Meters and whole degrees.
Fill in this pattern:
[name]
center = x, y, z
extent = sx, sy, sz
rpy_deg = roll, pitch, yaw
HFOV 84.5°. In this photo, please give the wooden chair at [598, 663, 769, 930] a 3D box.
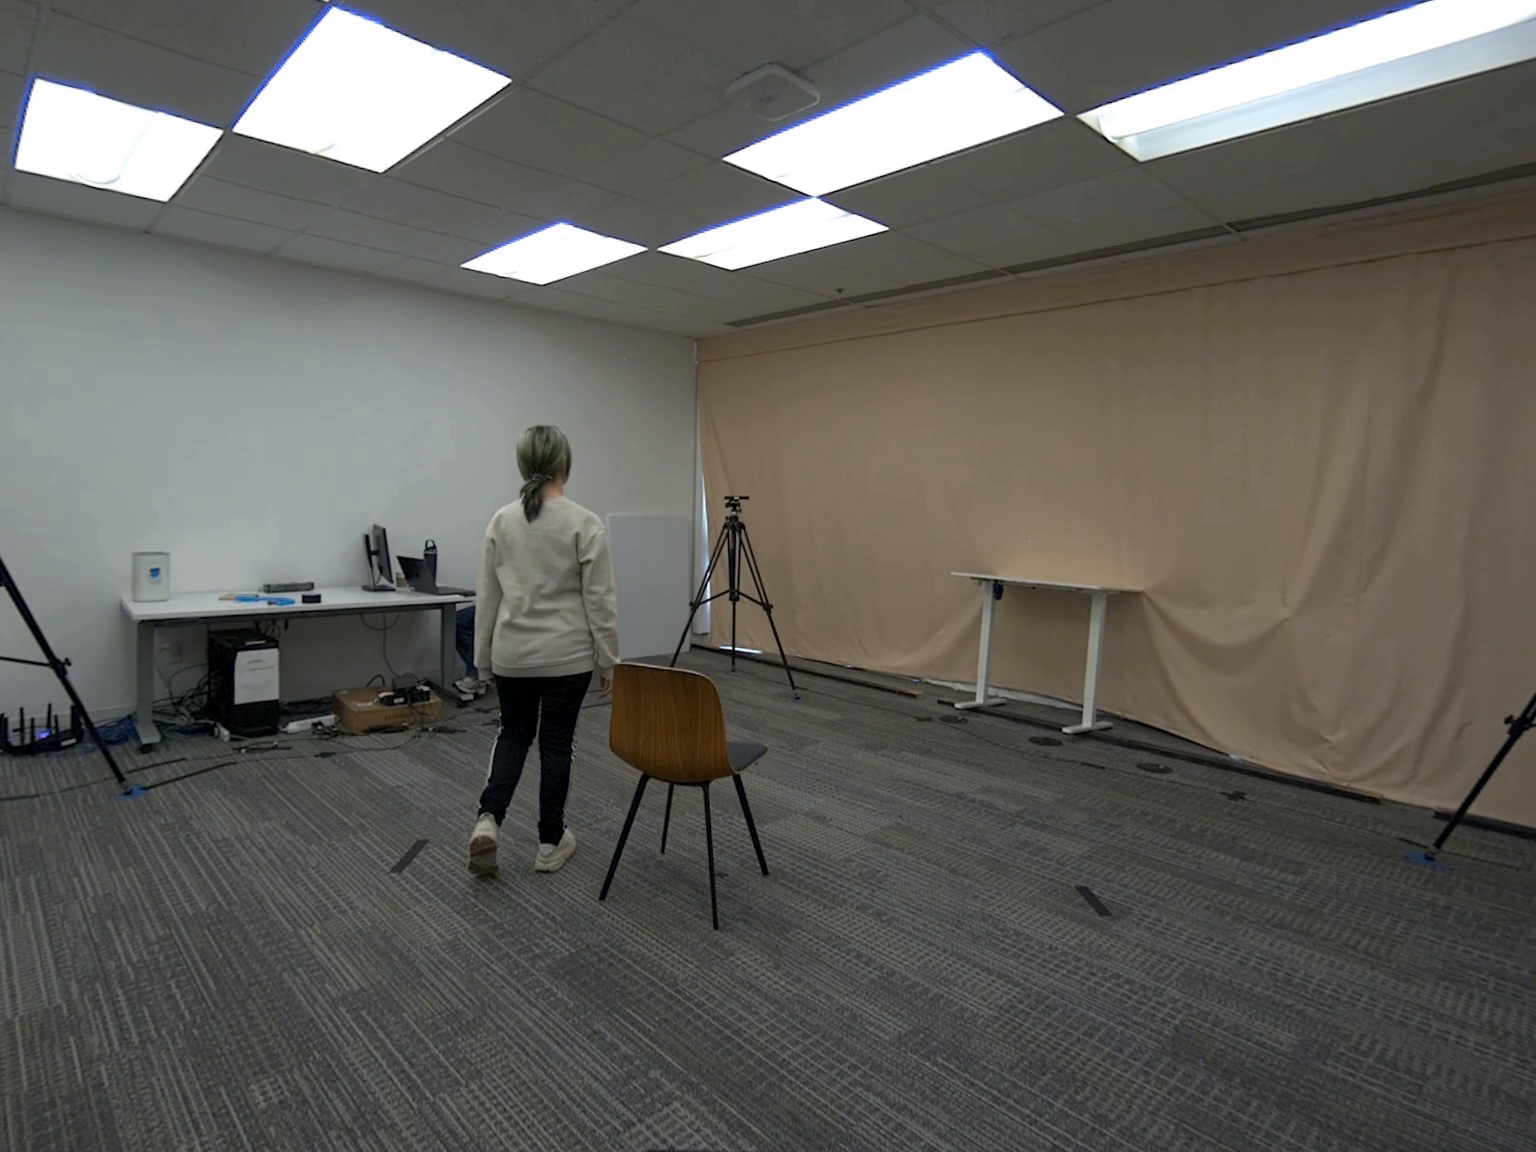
[wooden chair]
center = -0.284, 0.686, 2.978
extent = 0.487, 0.872, 0.516
rpy_deg = 3, 8, 23
